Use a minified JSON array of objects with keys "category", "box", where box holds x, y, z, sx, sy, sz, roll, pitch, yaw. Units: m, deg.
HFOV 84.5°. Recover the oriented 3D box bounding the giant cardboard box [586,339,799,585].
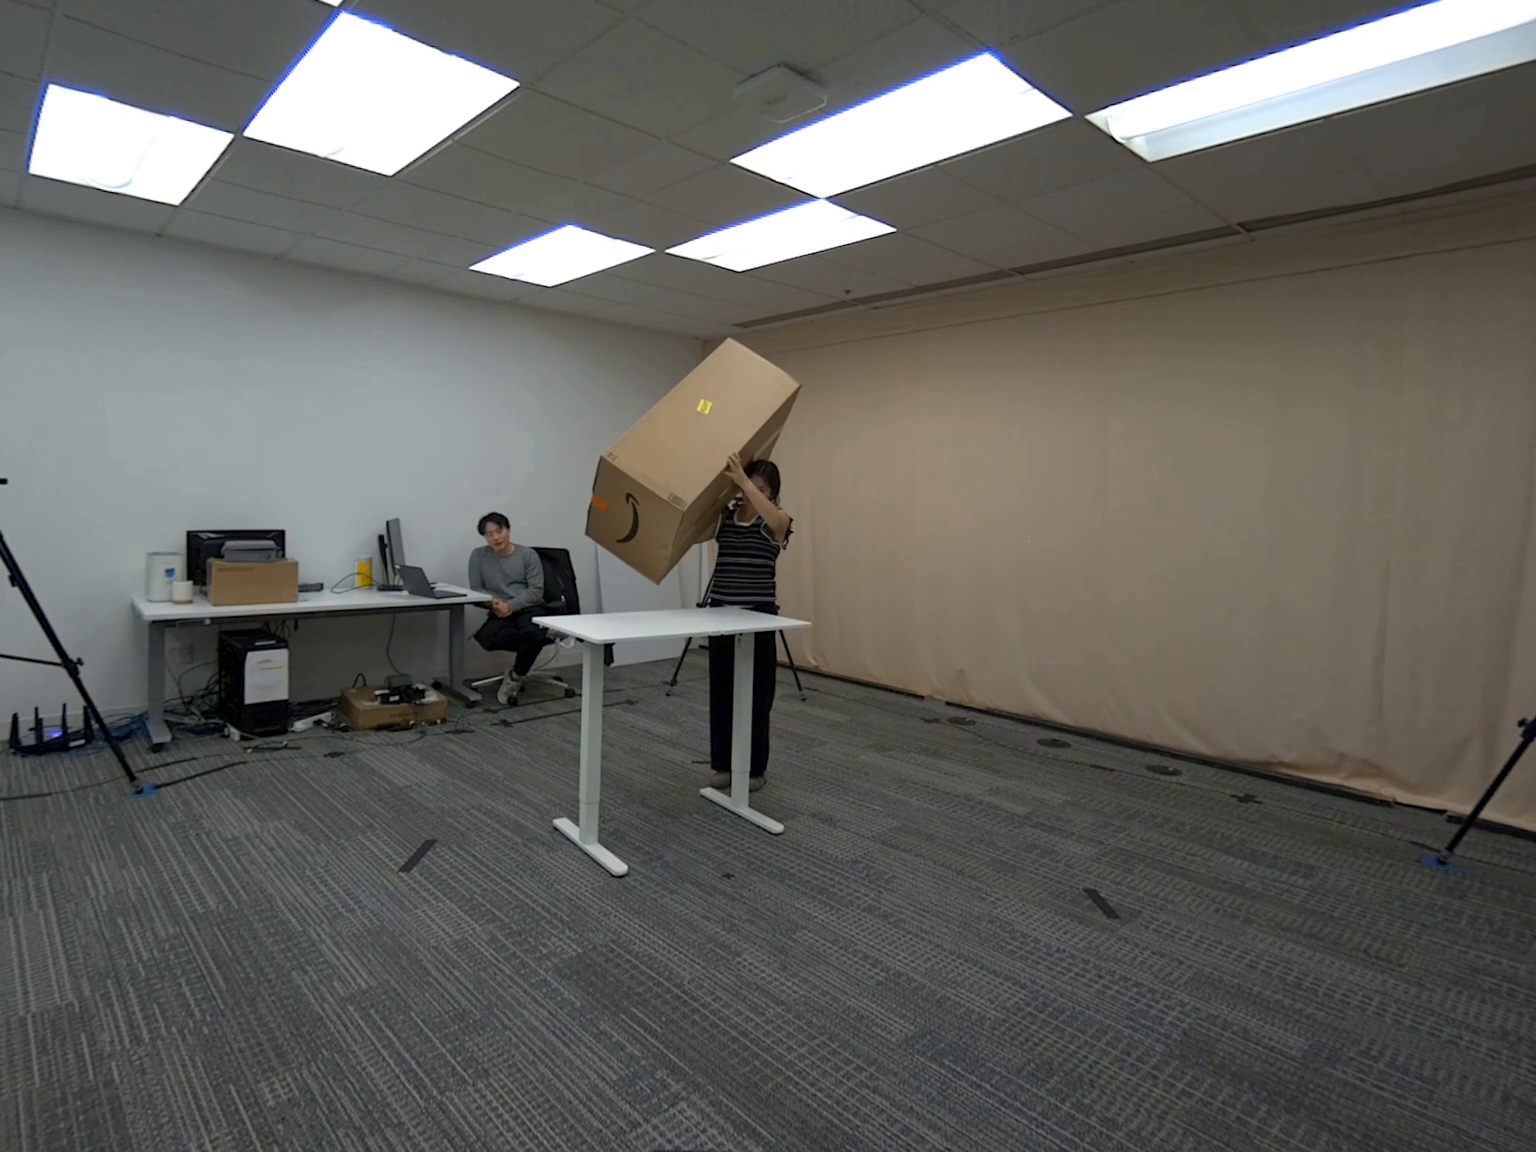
[{"category":"giant cardboard box","box":[-0.353,-0.548,3.924,0.429,1.028,0.572,34,-36,5]}]
